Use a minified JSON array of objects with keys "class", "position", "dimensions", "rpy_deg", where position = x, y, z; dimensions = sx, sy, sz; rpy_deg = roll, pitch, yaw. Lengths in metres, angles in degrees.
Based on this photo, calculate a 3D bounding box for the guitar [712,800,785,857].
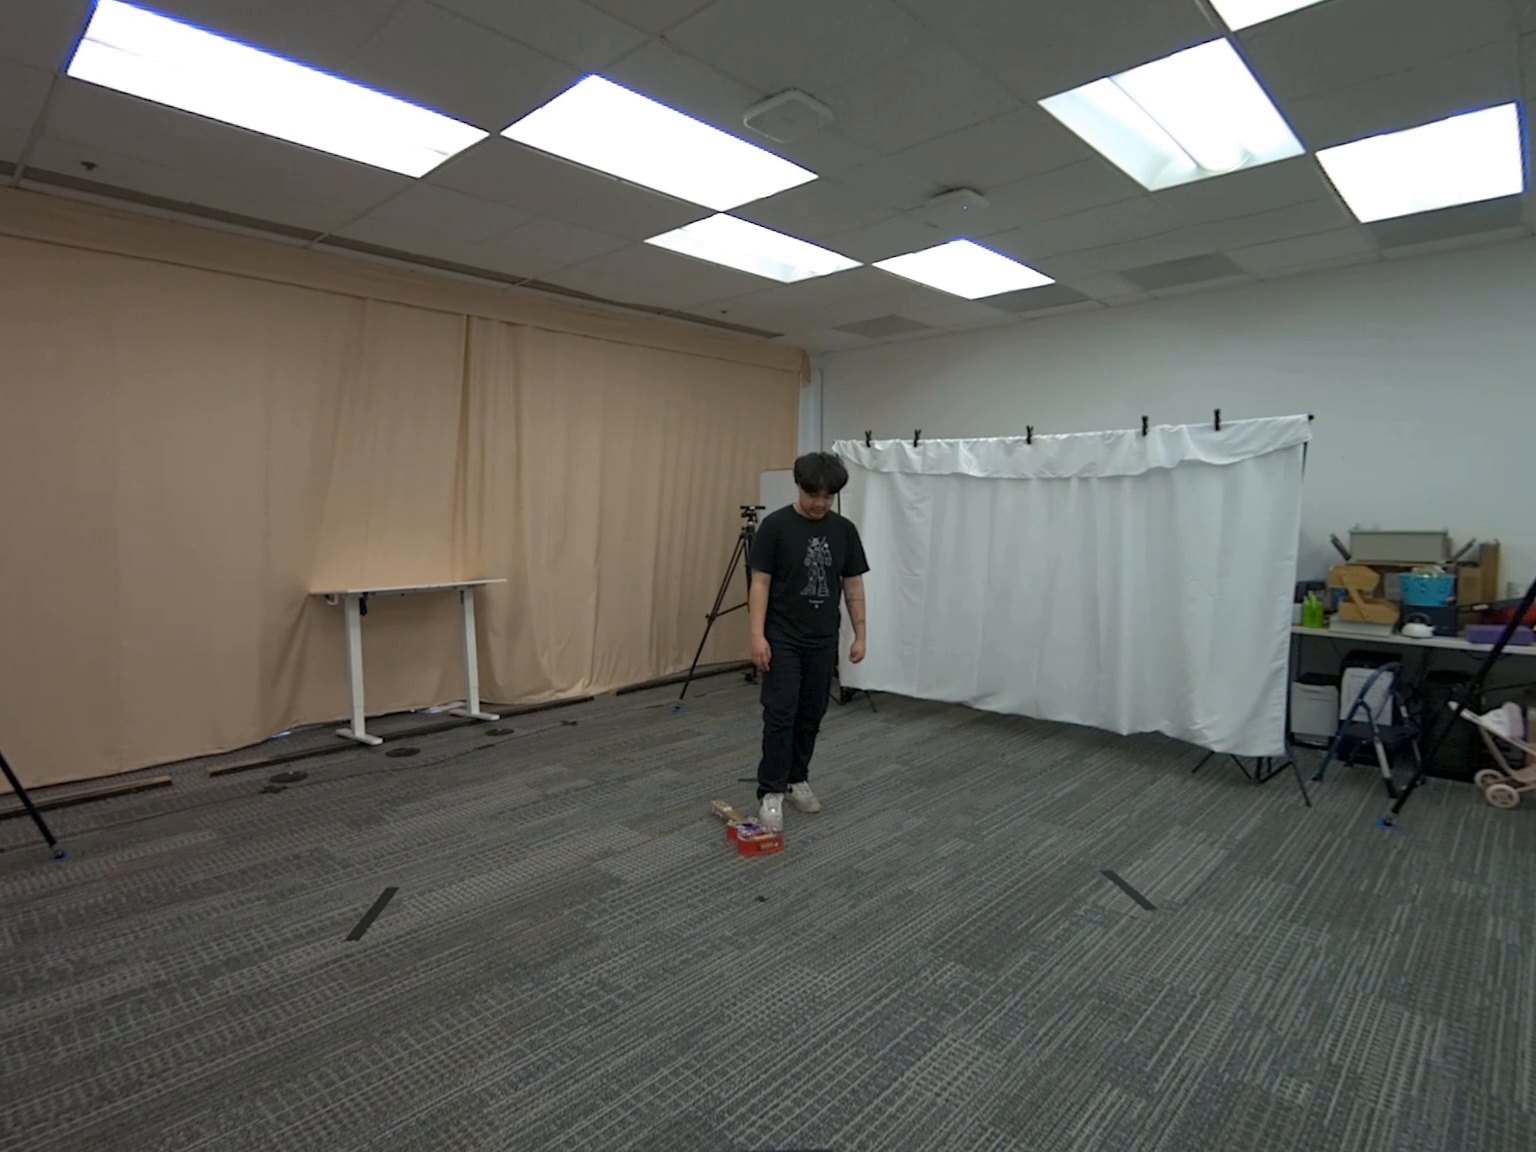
[{"class":"guitar","position":[-0.088,1.059,3.599],"dimensions":[0.189,0.070,0.508],"rpy_deg":[-2,5,-20]}]
